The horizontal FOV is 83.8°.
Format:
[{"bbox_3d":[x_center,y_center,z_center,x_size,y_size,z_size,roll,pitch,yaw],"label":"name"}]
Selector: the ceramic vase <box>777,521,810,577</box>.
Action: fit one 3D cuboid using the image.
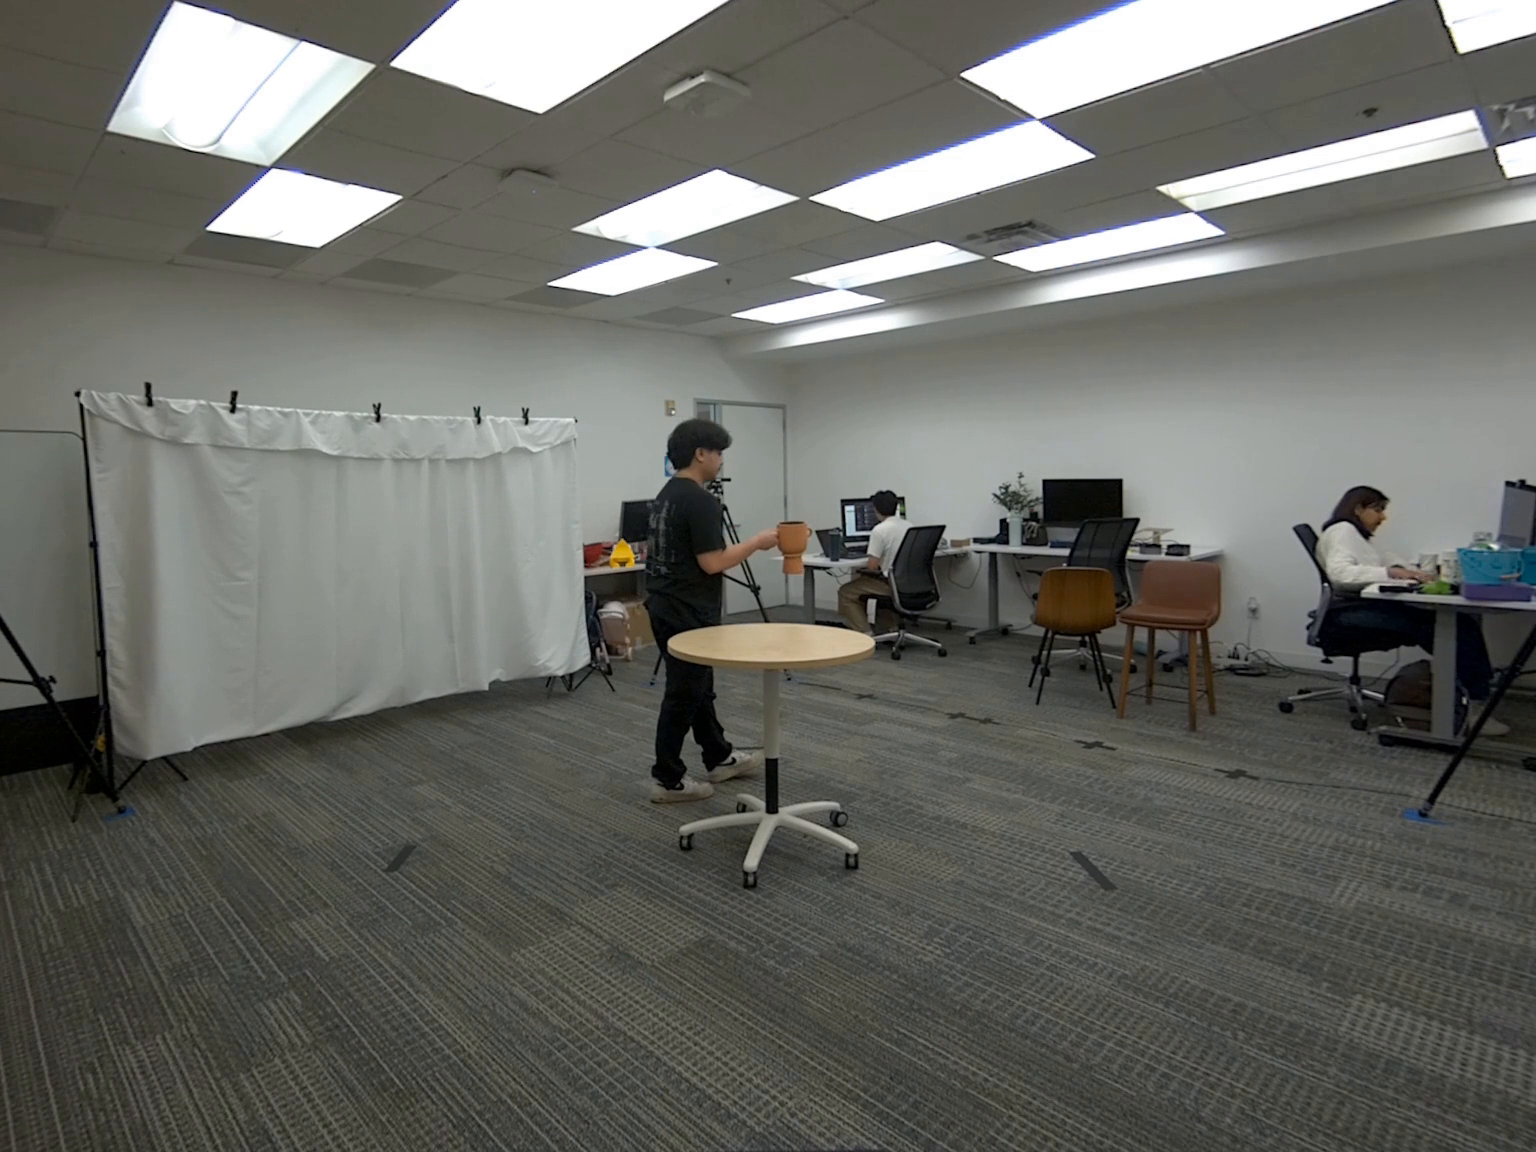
[{"bbox_3d":[0.104,-0.124,3.762,0.162,0.218,0.133,1,10,18],"label":"ceramic vase"}]
